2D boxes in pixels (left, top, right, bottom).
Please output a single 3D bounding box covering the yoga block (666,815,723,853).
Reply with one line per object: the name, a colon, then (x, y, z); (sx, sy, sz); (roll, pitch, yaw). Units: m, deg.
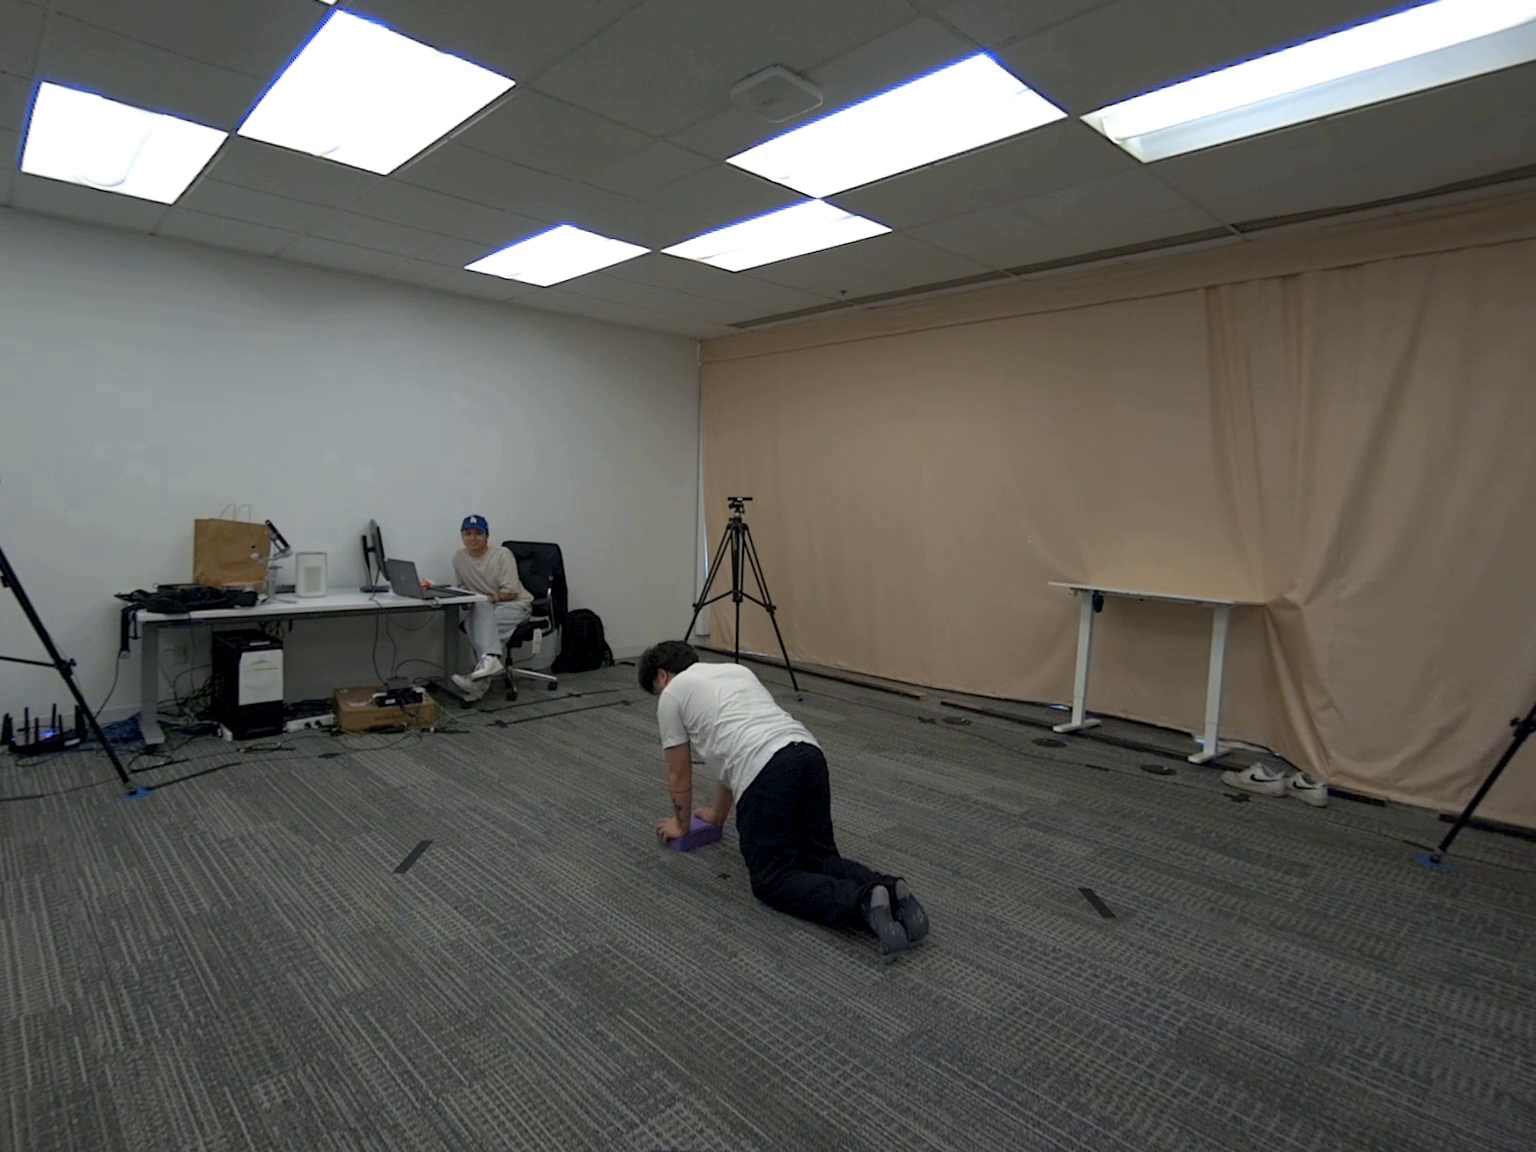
yoga block: (-0.323, 1.042, 3.425); (0.224, 0.076, 0.153); (-4, 8, -44)
